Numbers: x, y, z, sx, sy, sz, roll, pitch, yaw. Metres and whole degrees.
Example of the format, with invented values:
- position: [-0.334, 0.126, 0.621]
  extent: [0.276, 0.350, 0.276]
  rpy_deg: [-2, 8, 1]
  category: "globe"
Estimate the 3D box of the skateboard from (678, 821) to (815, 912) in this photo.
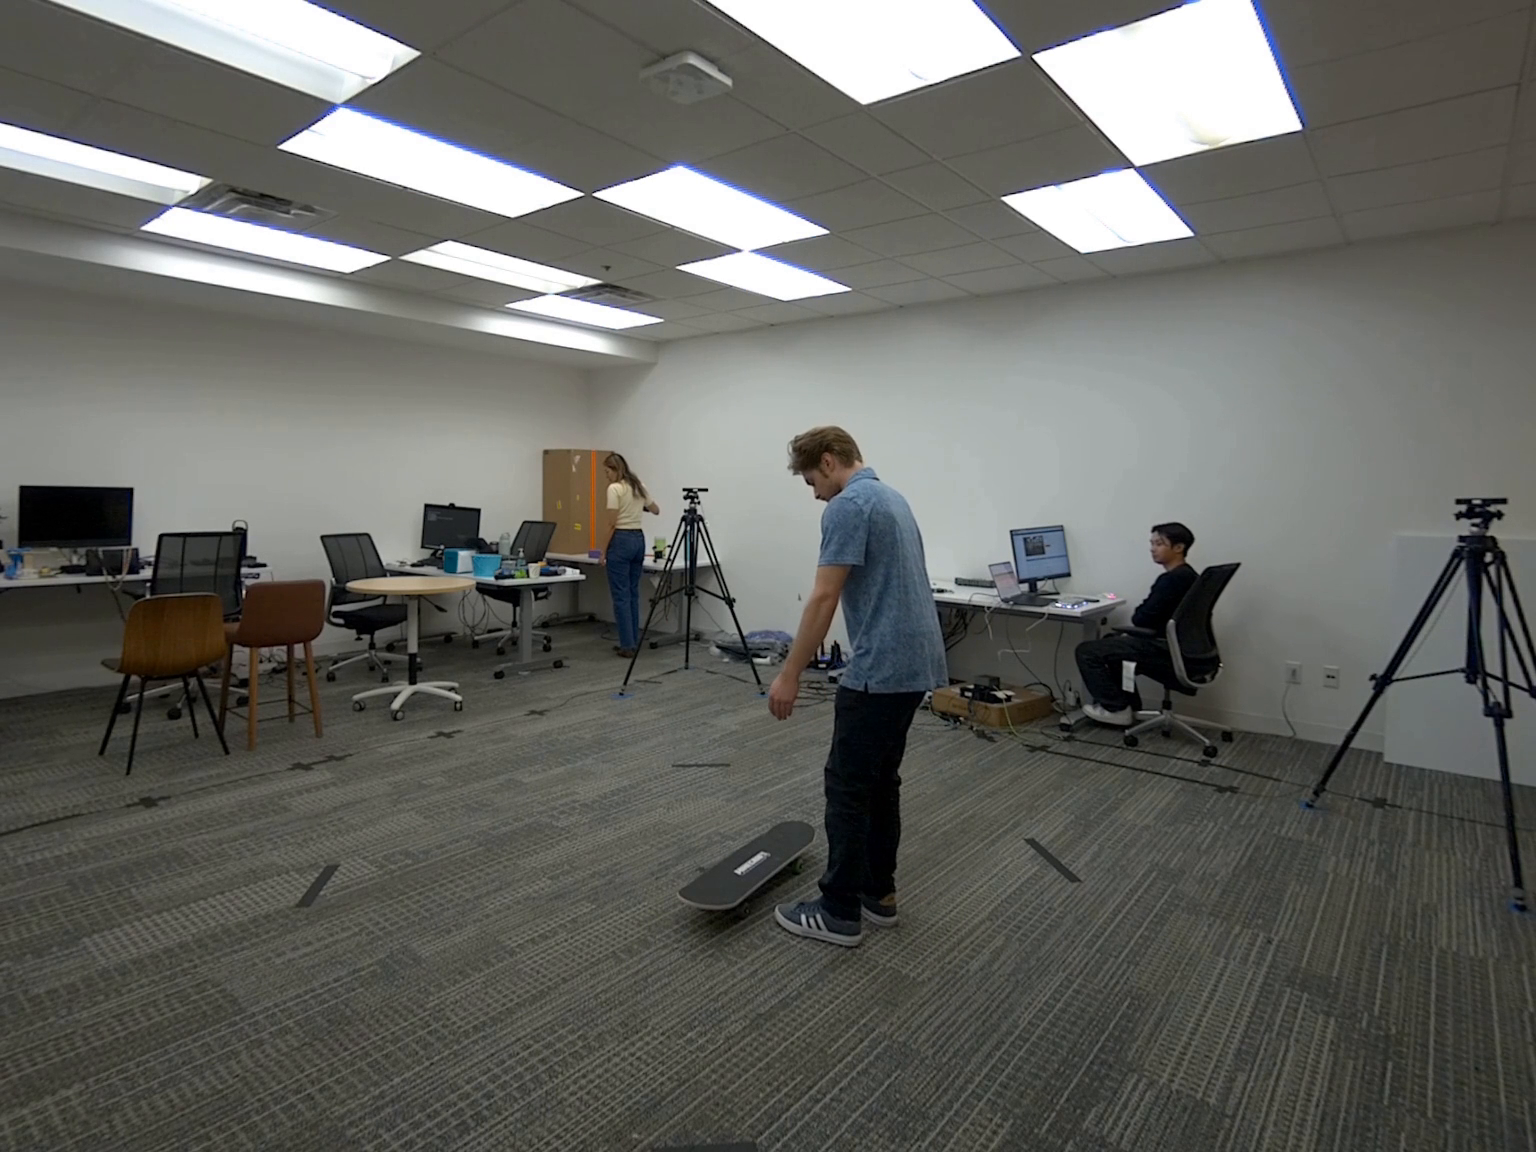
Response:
- position: [-0.061, 1.030, 2.971]
  extent: [0.199, 0.110, 0.766]
  rpy_deg: [4, 7, 29]
  category: "skateboard"
